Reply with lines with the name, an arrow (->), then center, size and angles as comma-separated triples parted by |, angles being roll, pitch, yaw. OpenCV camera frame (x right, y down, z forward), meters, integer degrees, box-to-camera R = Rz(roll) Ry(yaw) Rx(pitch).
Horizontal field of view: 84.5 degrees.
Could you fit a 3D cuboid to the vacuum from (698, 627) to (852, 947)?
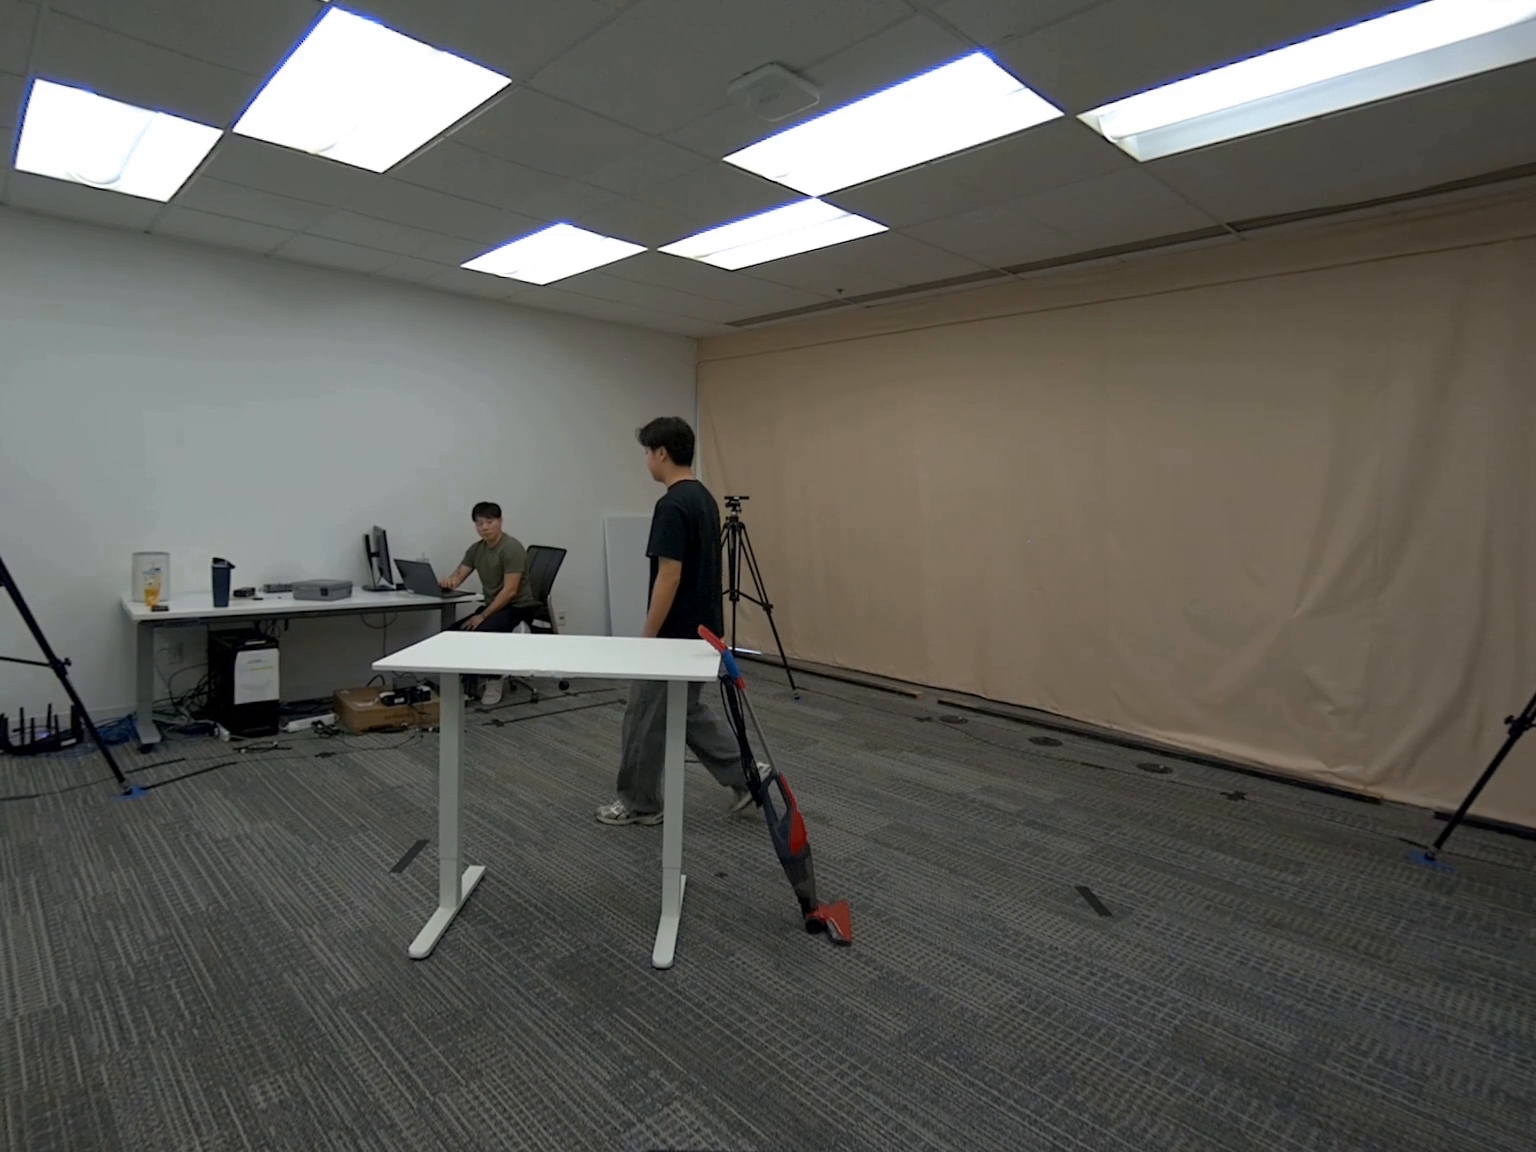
vacuum -> -0.012, 0.658, 2.747 | 0.144, 1.049, 0.252 | -23, 0, 3
